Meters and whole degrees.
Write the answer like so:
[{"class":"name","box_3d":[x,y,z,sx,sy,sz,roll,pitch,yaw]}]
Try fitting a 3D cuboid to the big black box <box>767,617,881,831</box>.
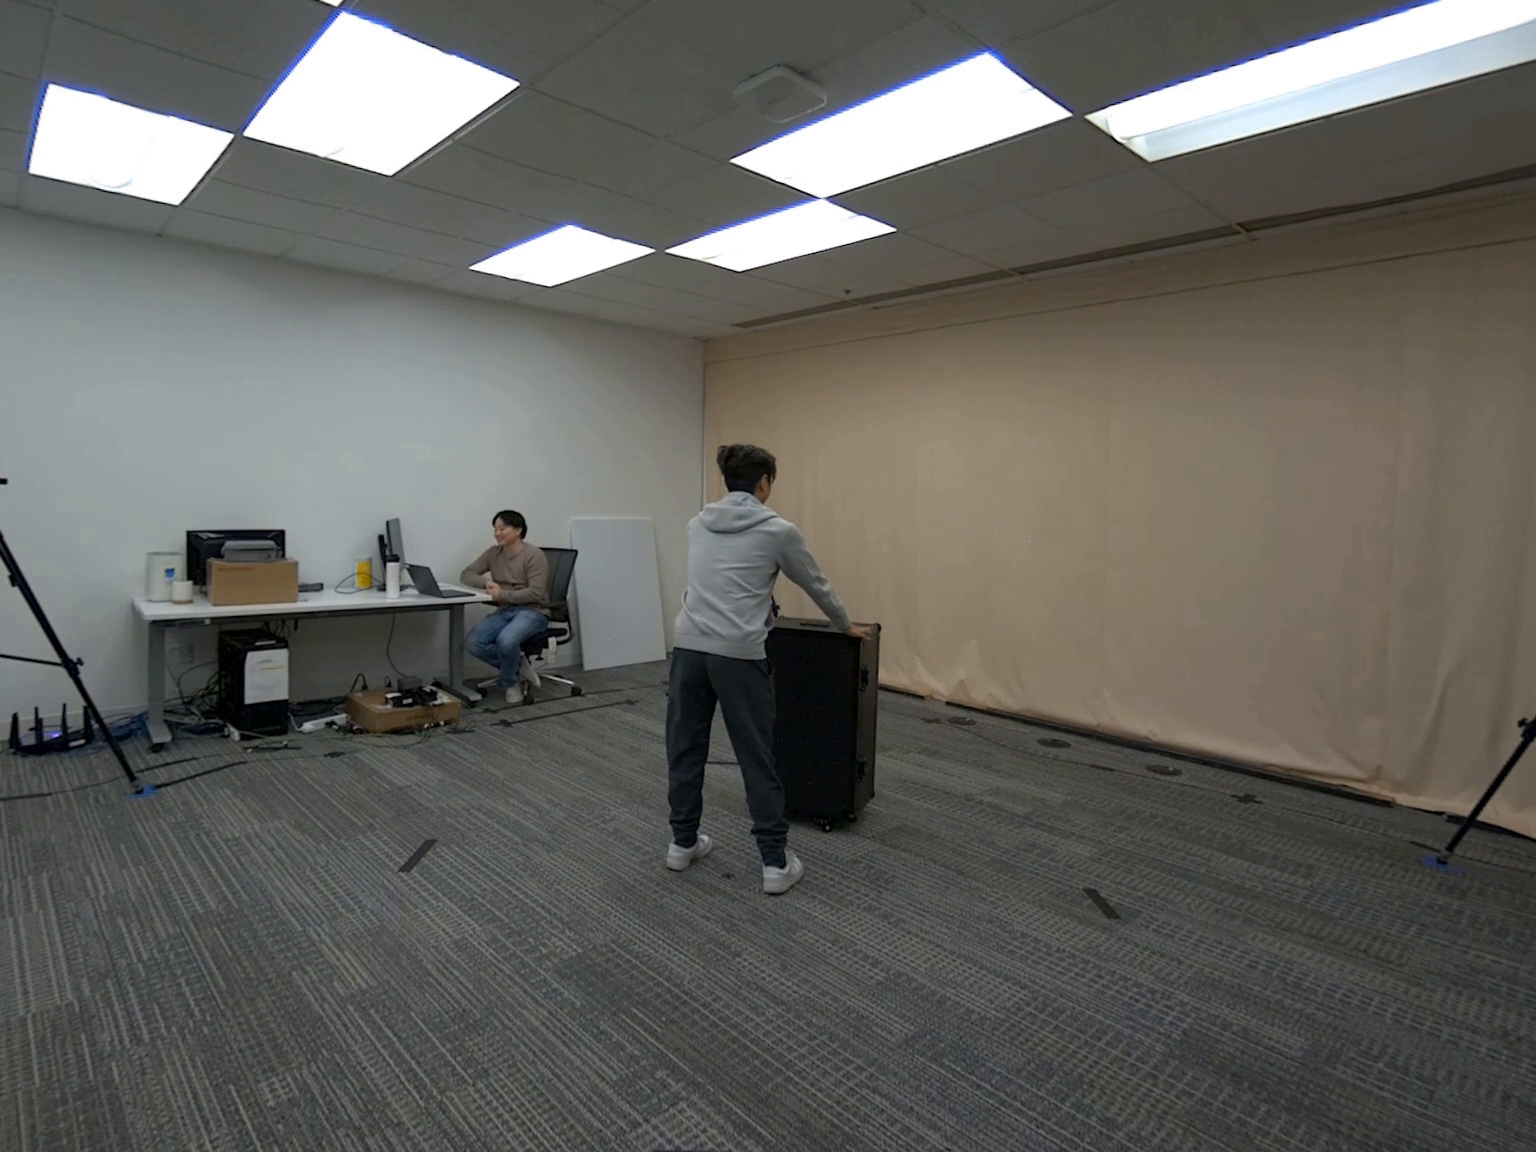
[{"class":"big black box","box_3d":[0.206,0.637,3.734,0.531,0.860,0.389,4,3,24]}]
